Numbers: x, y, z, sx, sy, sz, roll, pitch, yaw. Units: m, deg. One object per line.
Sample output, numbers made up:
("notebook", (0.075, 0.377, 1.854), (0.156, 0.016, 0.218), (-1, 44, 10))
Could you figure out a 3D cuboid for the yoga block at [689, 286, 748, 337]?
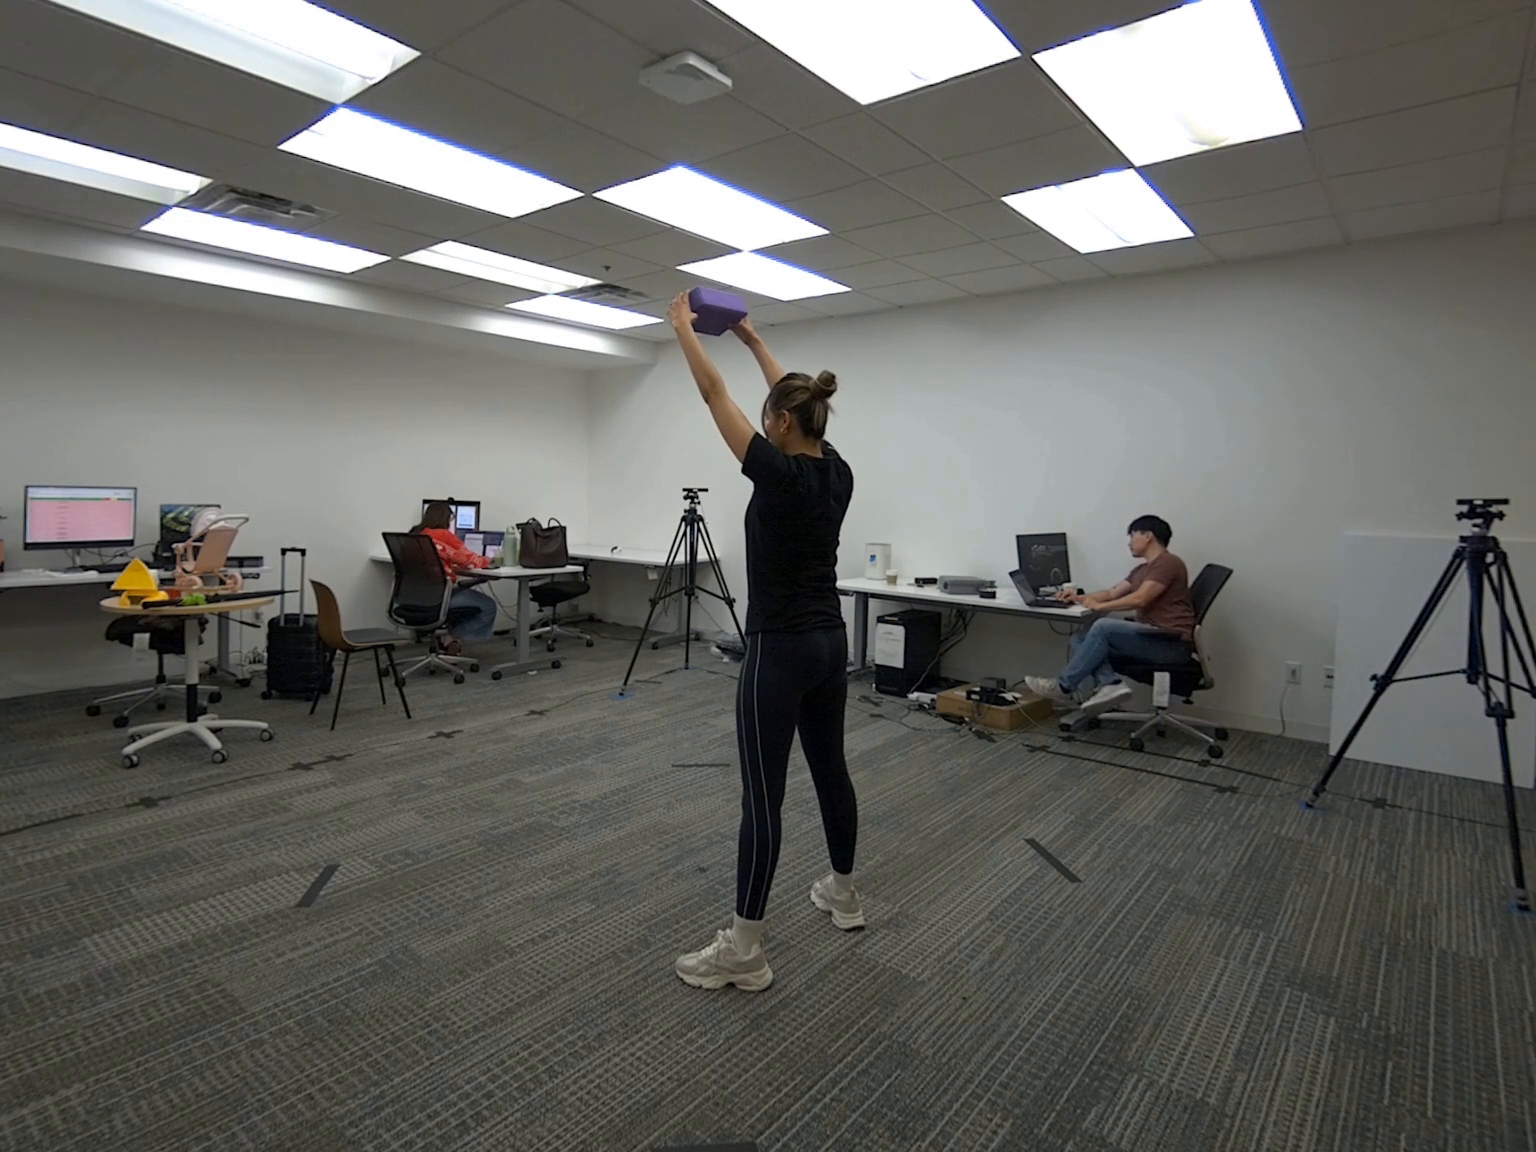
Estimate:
("yoga block", (-0.206, -0.858, 2.738), (0.151, 0.077, 0.223), (-24, -10, 40))
